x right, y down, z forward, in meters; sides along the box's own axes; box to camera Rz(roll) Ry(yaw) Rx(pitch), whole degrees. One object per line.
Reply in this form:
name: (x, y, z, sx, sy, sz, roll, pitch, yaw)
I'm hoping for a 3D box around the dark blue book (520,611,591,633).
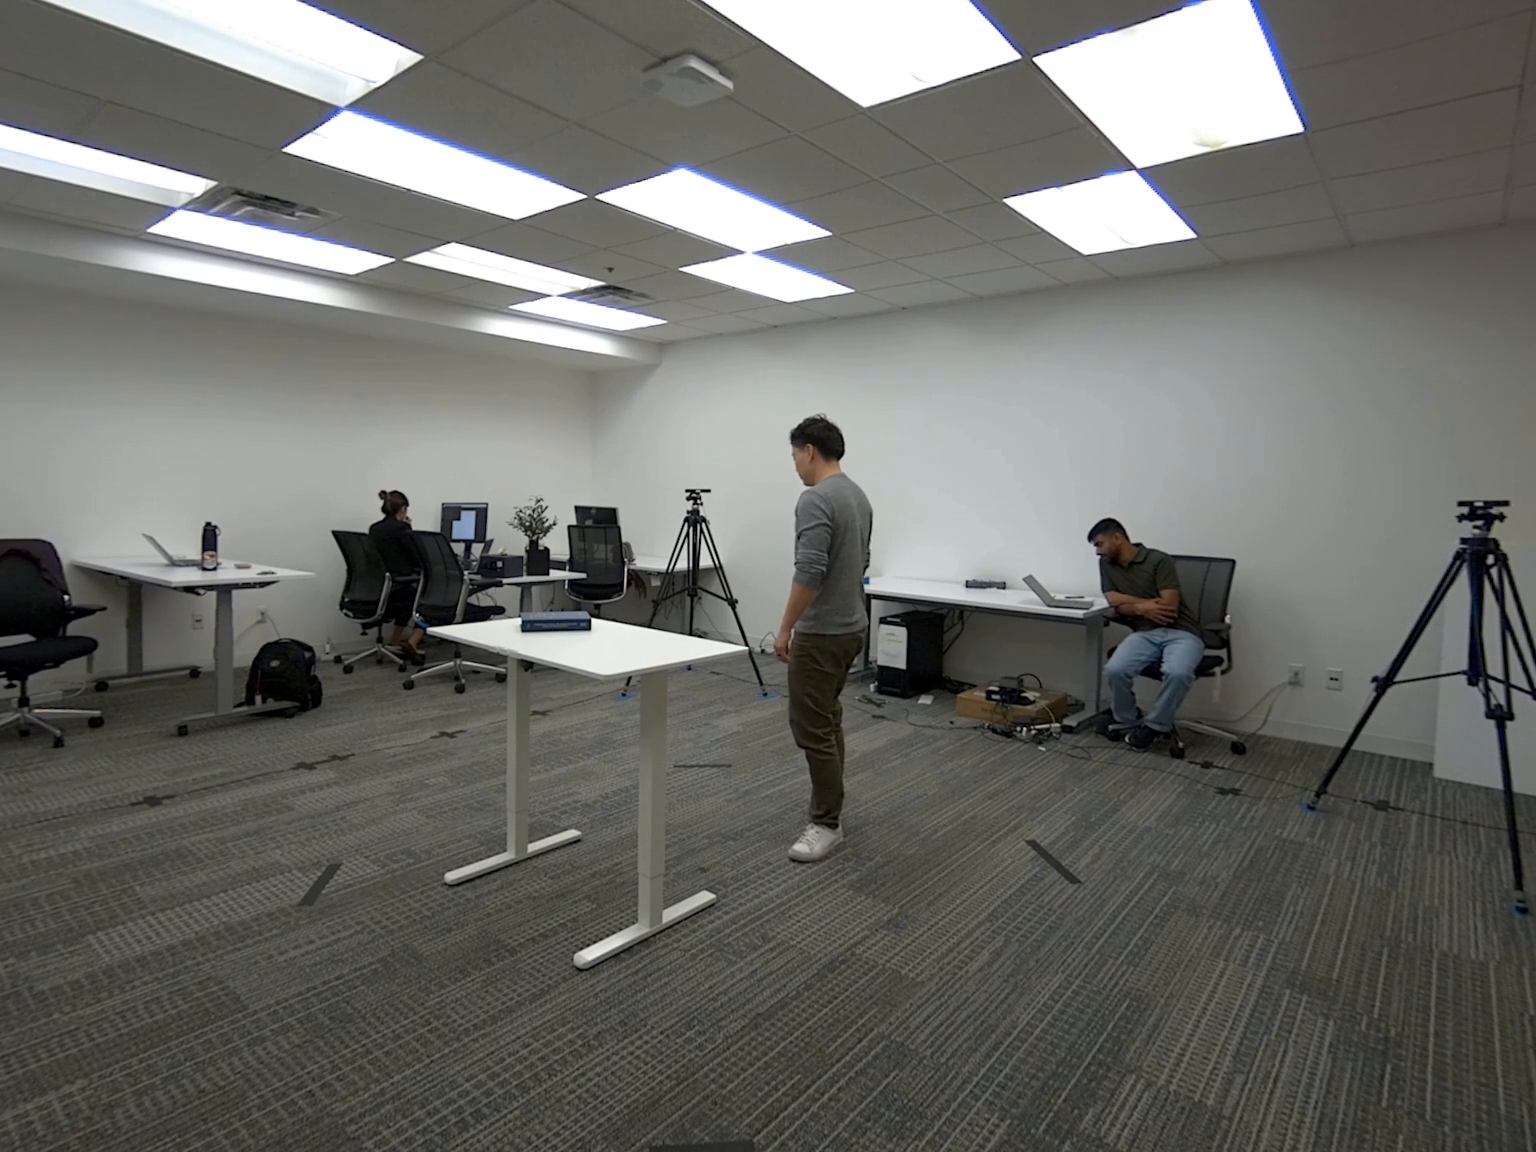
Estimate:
dark blue book: (-0.780, 0.165, 3.065, 0.241, 0.045, 0.166, -2, 7, -14)
